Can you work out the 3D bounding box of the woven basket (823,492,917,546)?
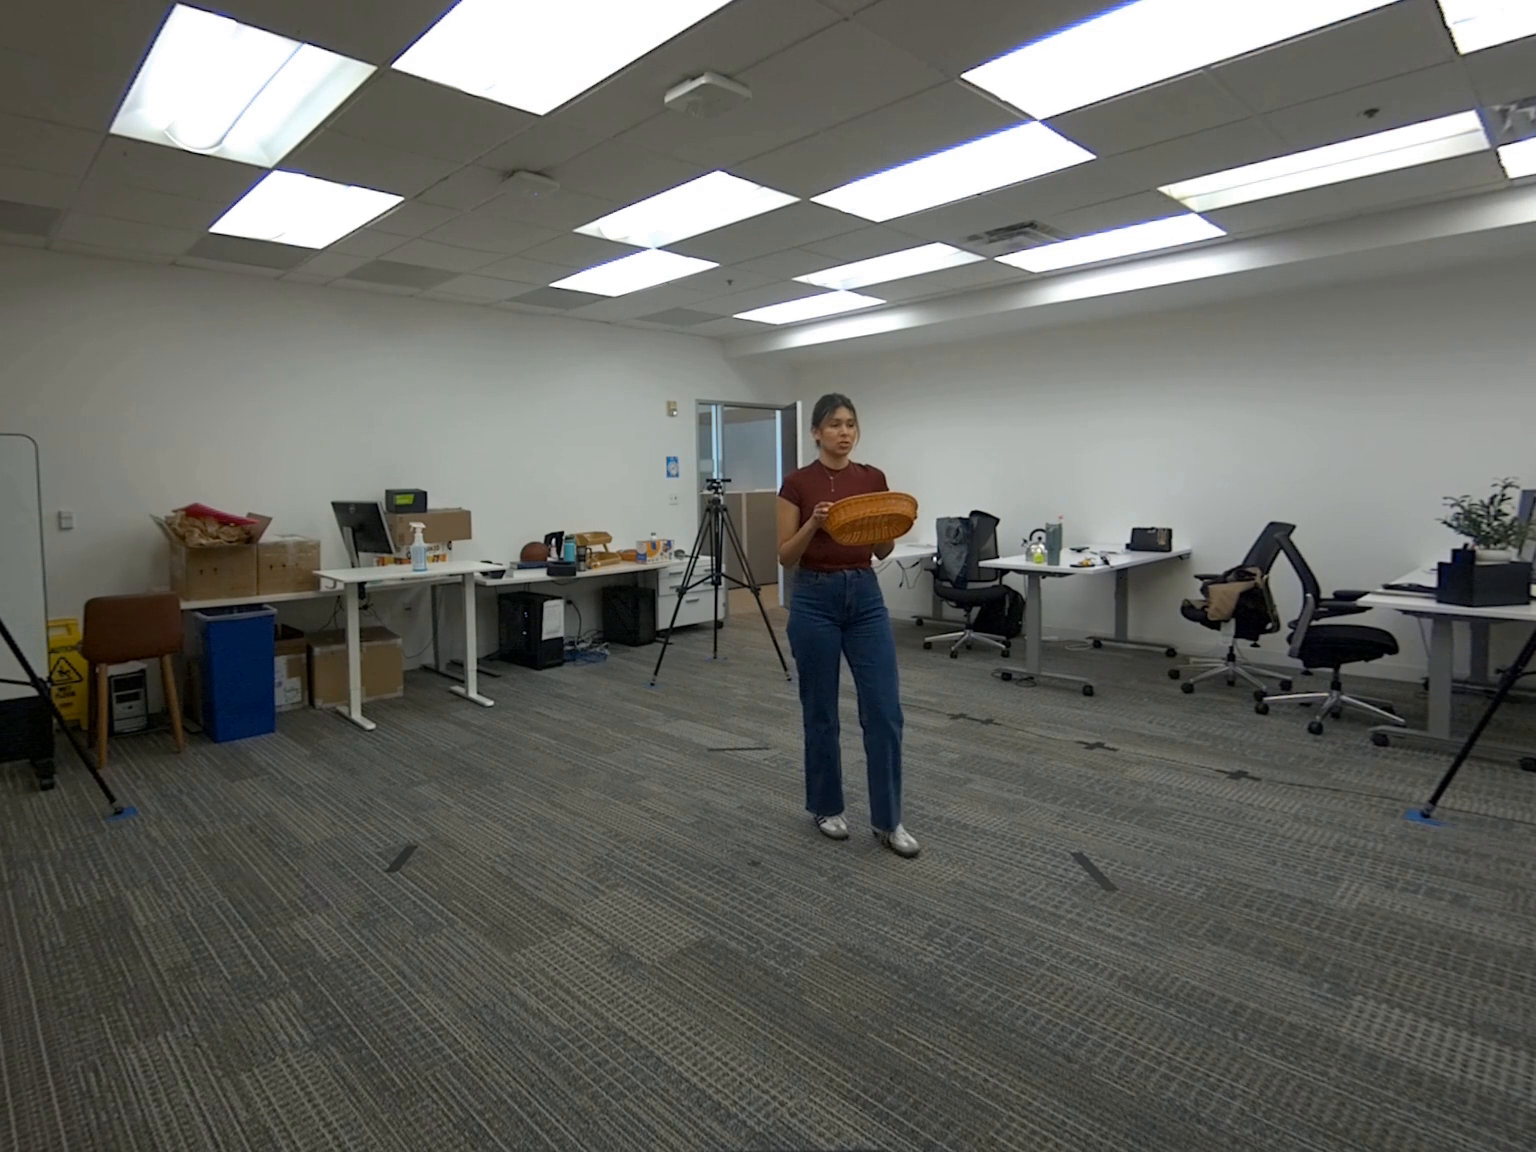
[{"bbox_3d":[0.359,-0.191,3.002,0.351,0.075,0.245,-7,-29,0],"label":"woven basket"}]
